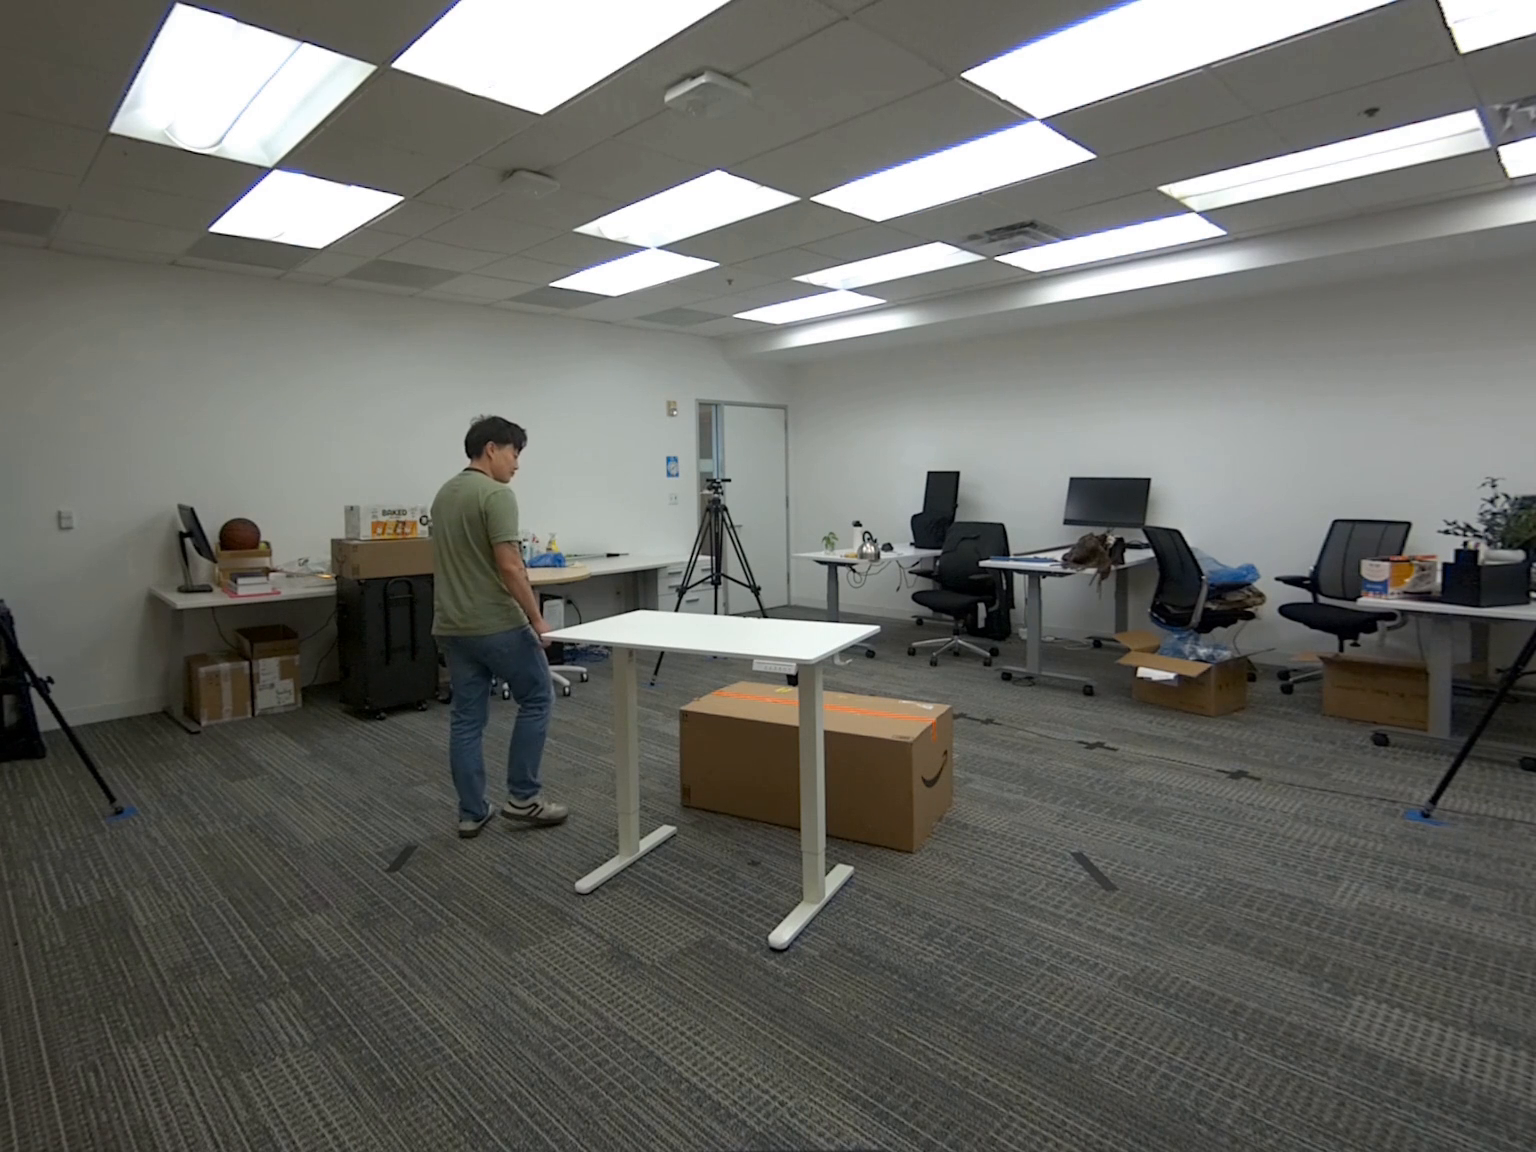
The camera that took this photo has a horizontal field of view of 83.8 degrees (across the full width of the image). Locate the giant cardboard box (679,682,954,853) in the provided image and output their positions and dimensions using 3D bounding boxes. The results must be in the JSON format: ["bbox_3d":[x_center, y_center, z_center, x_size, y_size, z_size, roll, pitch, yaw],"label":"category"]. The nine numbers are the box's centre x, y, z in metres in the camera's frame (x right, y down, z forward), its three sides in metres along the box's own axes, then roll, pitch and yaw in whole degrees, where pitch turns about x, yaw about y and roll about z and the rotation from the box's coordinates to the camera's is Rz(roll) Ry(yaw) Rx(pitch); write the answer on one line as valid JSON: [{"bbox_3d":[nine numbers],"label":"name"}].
[{"bbox_3d":[0.203,0.762,3.640,1.052,0.425,0.565,2,5,29],"label":"giant cardboard box"}]
